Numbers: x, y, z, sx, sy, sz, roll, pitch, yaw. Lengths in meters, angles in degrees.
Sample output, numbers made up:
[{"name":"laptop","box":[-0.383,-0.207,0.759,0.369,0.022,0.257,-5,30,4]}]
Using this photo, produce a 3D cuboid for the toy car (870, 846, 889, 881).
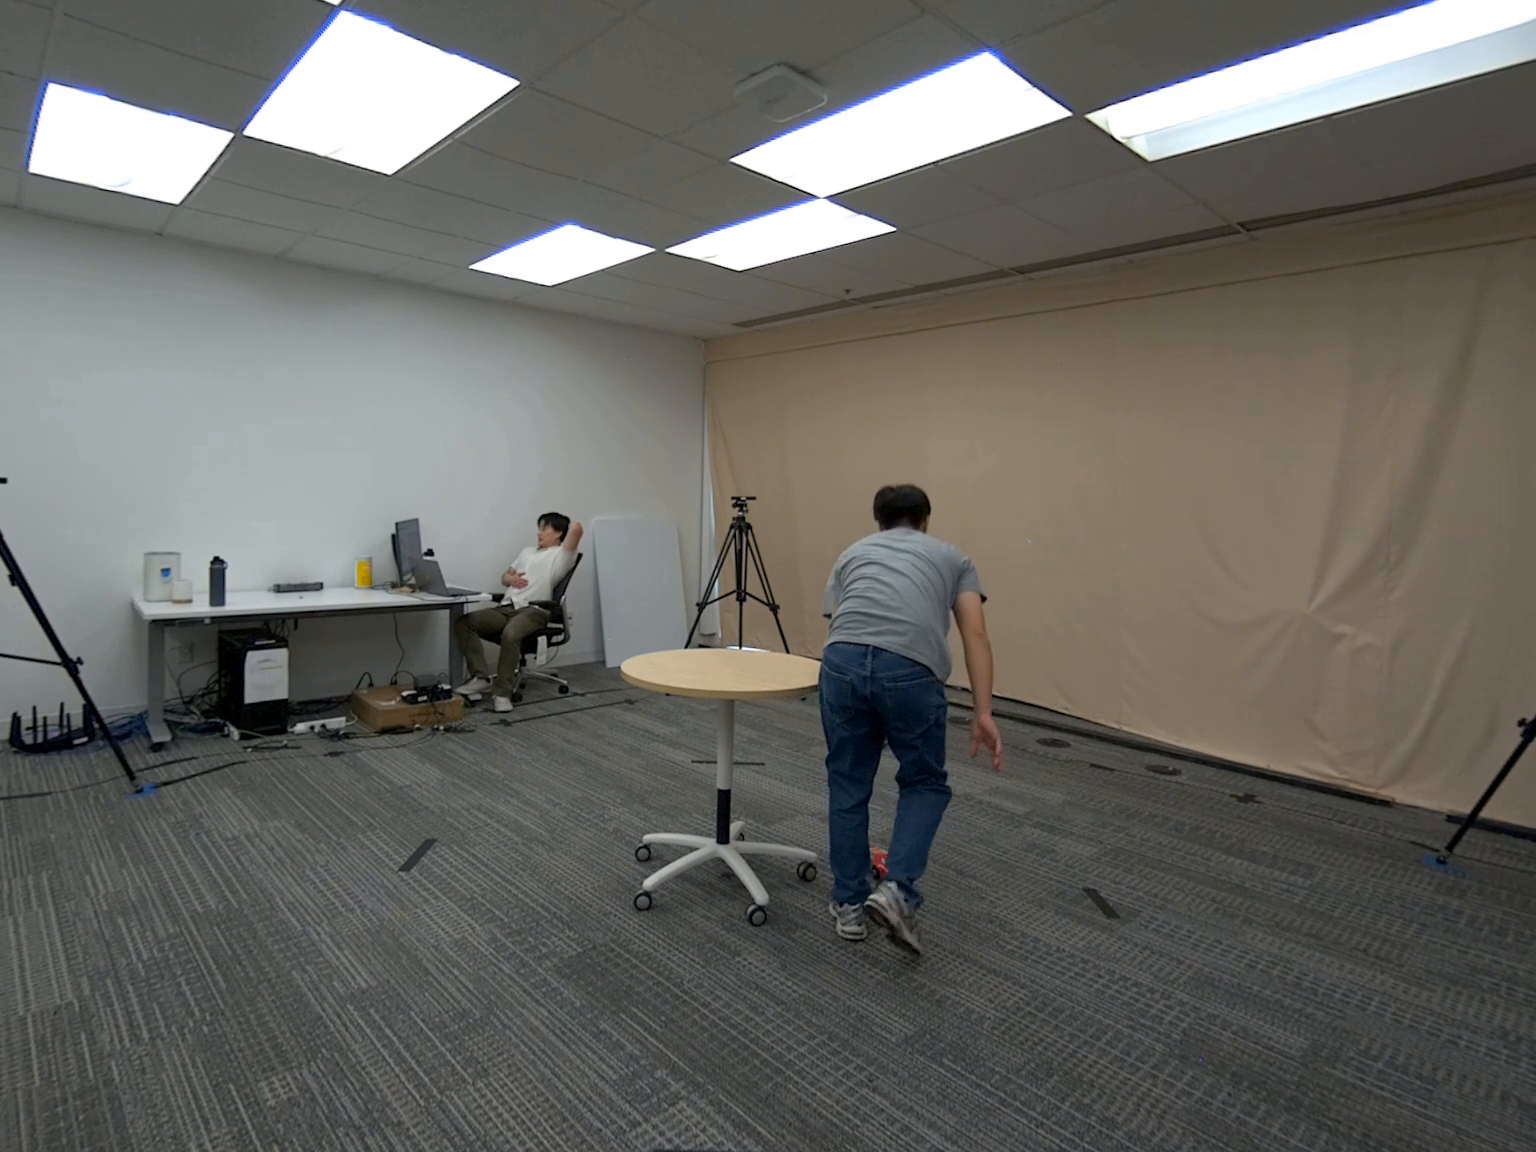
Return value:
[{"name":"toy car","box":[0.417,1.087,3.167,0.128,0.083,0.258,0,-6,-24]}]
